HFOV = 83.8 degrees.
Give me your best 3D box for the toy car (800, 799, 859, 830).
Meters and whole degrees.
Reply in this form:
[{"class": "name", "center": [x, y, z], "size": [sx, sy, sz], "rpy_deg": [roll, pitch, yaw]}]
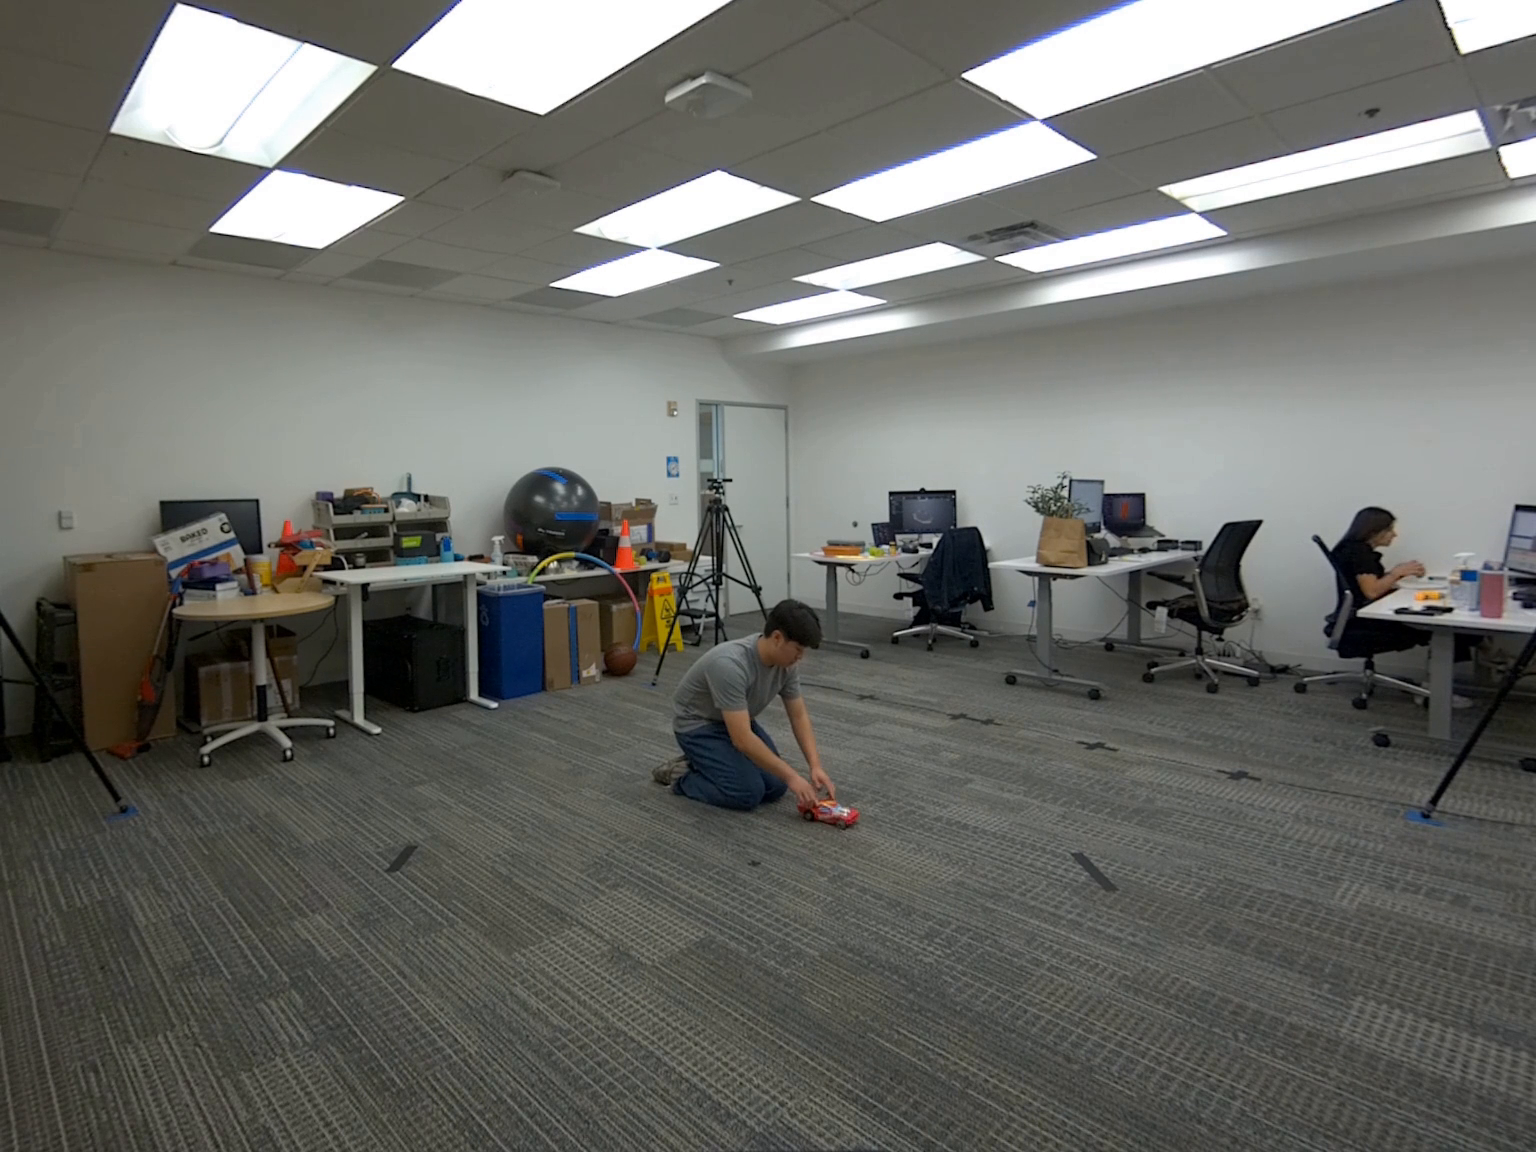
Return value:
[{"class": "toy car", "center": [0.239, 0.963, 3.496], "size": [0.263, 0.082, 0.127], "rpy_deg": [15, 14, 34]}]
